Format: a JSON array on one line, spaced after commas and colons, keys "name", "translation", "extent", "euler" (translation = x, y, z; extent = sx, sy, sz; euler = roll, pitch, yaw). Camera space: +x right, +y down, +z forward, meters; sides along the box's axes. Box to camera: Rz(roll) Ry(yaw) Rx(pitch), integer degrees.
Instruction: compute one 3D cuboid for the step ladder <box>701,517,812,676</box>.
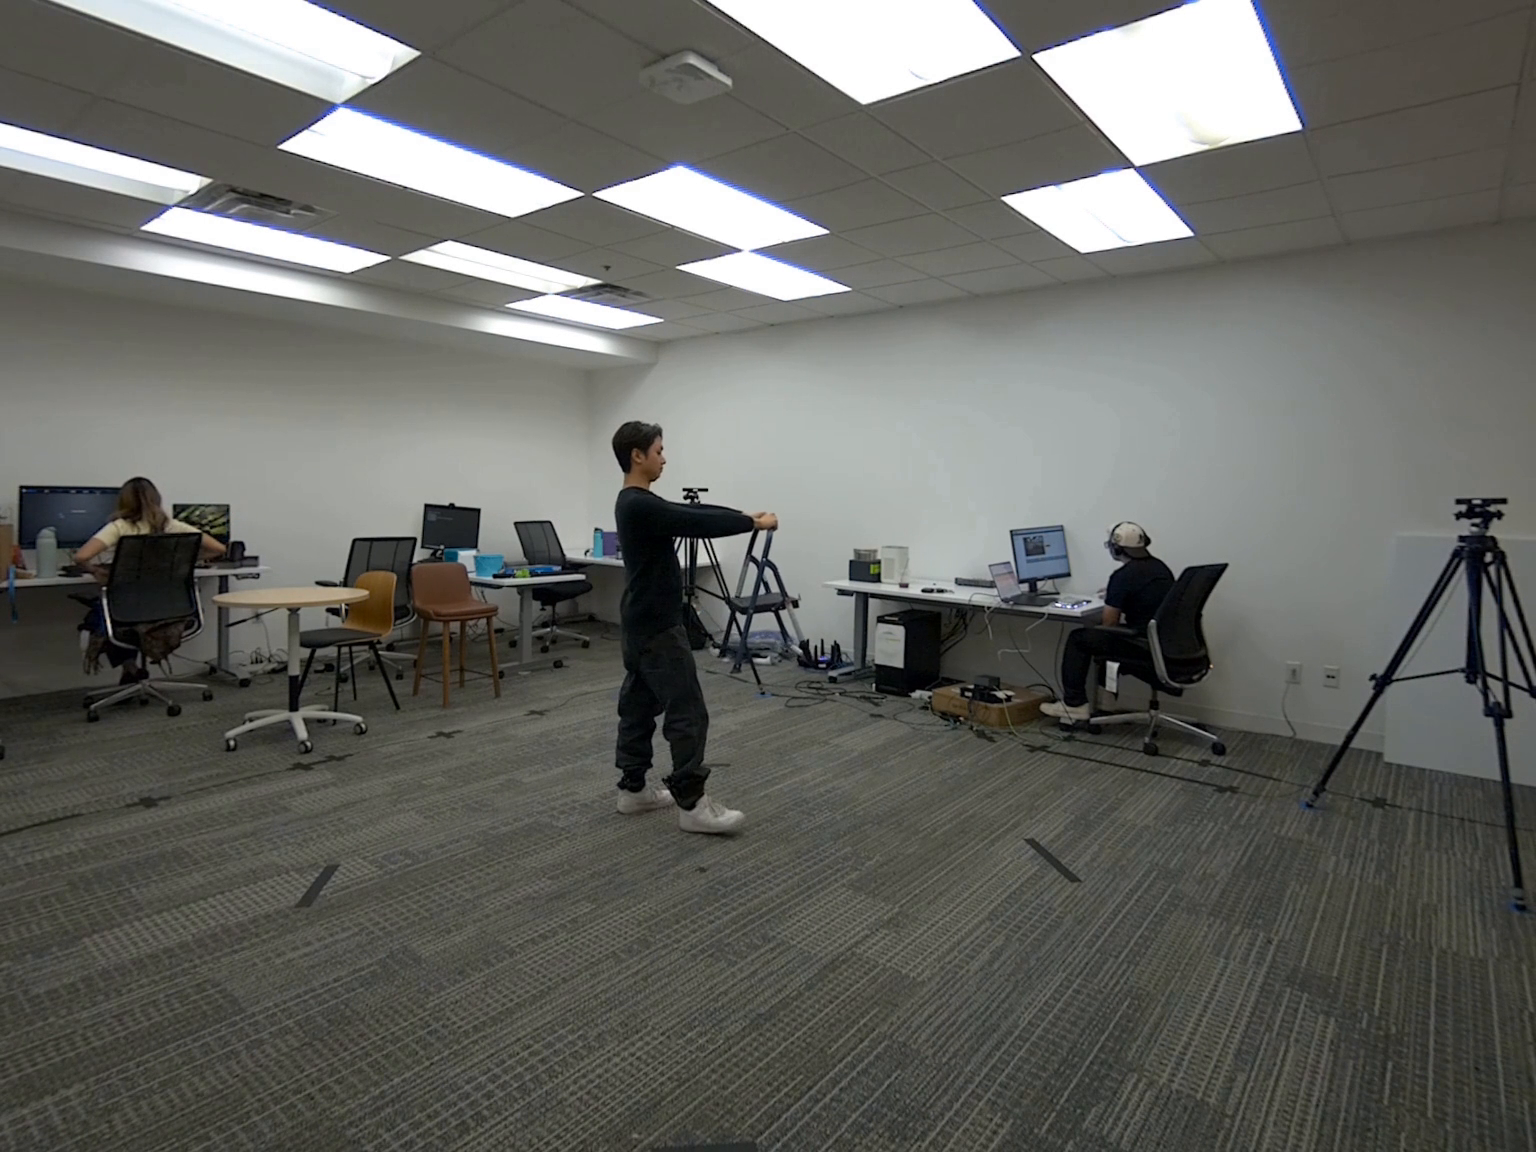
[{"name": "step ladder", "translation": [-0.066, 0.066, 3.653], "extent": [0.346, 0.604, 0.436], "euler": [-6, 4, -10]}]
